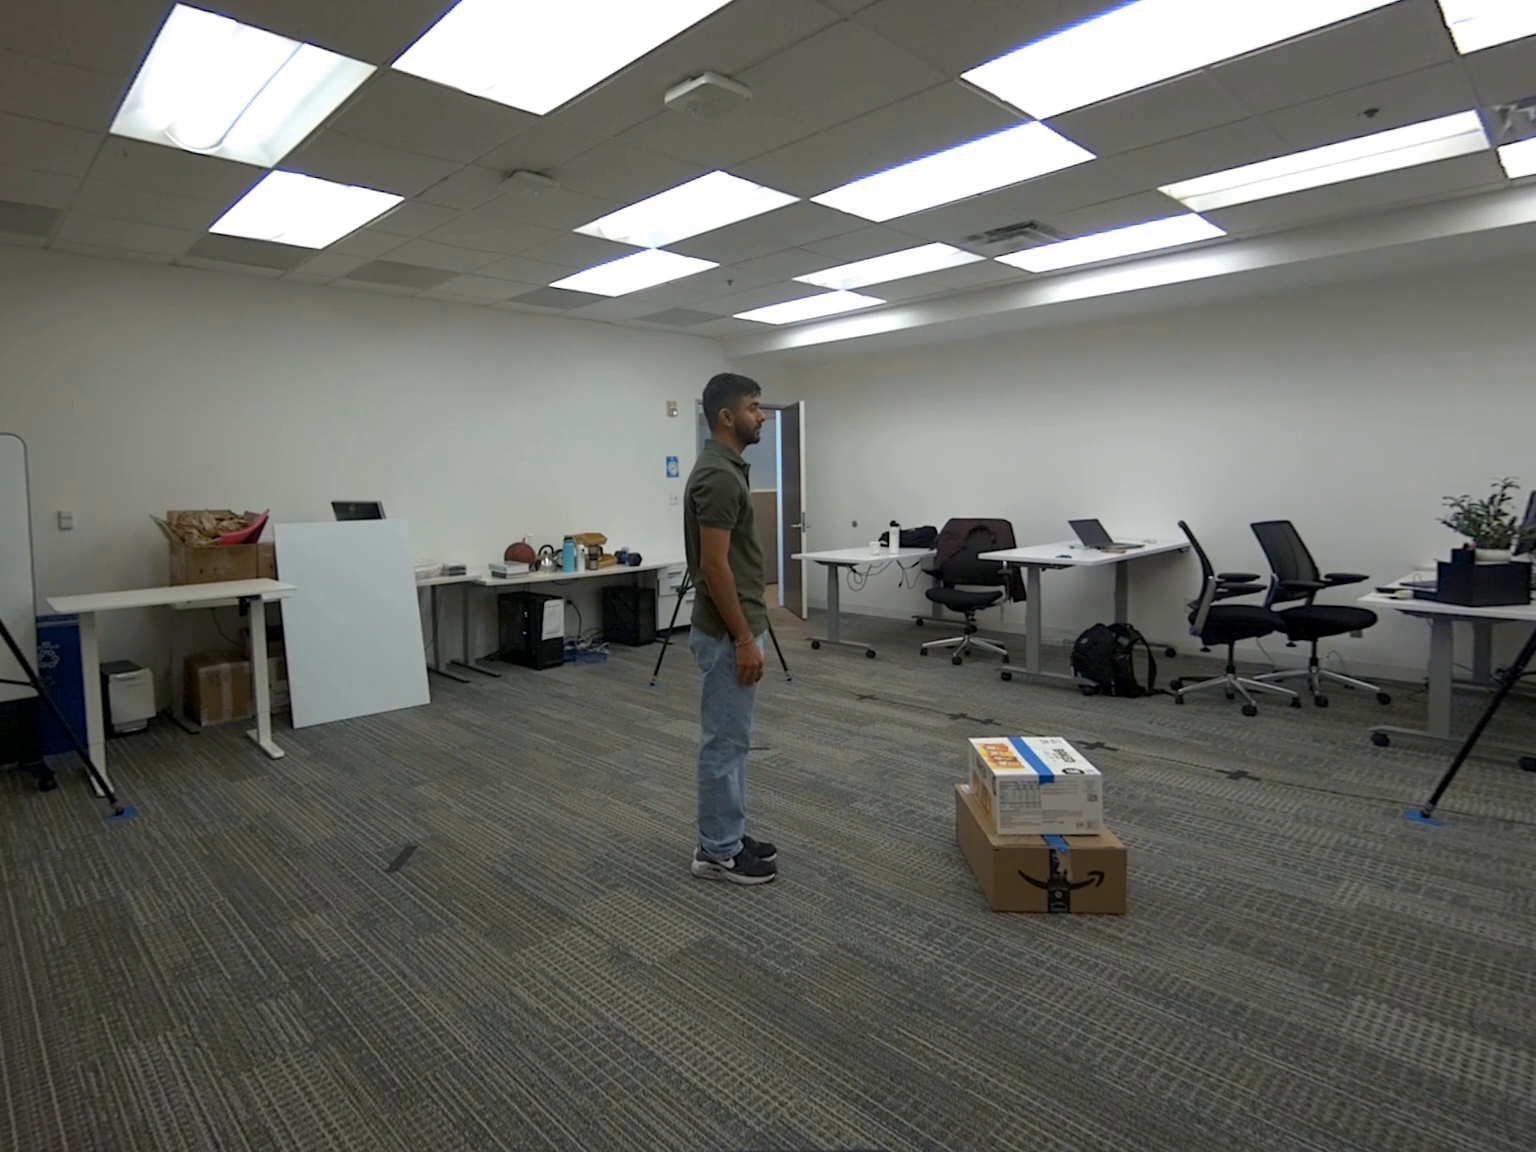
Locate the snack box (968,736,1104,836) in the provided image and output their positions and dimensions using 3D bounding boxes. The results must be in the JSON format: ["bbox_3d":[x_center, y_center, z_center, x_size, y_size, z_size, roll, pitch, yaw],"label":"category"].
[{"bbox_3d":[0.914,0.720,2.978,0.341,0.205,0.406,-2,6,2],"label":"snack box"}]
